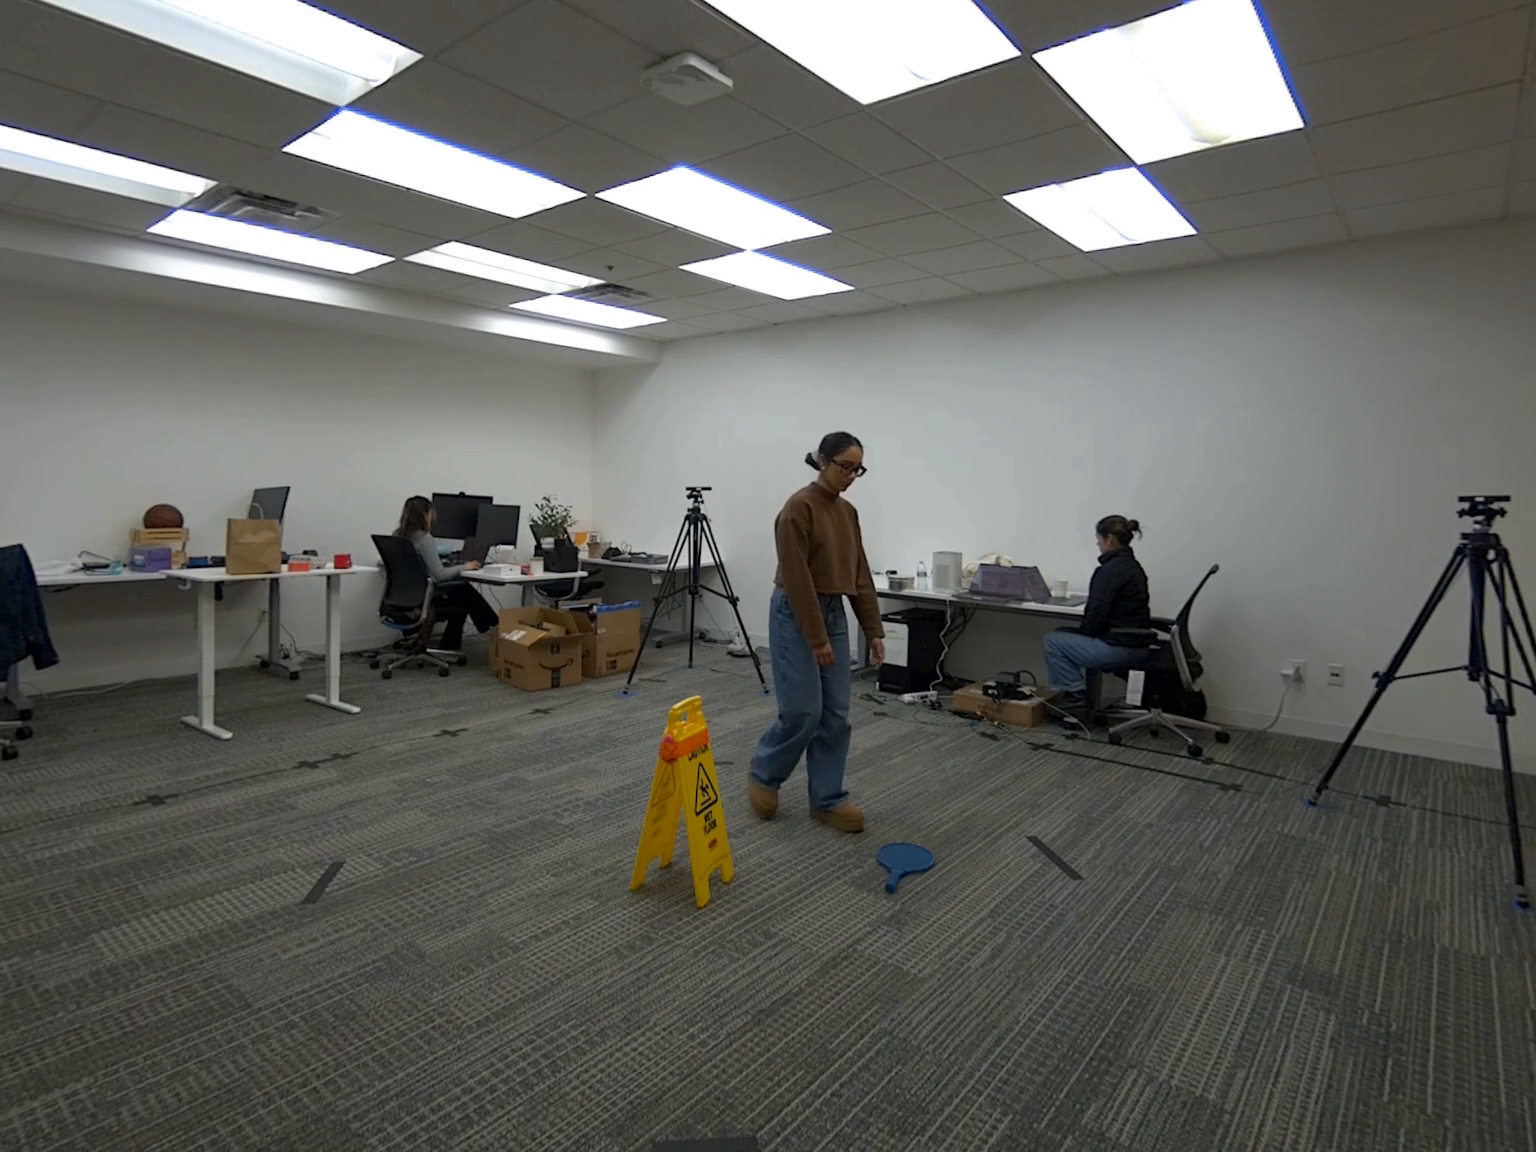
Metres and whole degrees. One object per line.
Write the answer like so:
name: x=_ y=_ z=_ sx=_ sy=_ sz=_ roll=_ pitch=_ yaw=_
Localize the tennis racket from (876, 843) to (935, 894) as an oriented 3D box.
tennis racket: x=0.474 y=1.061 z=3.146 sx=0.219 sy=0.031 sz=0.423 roll=3 pitch=5 yaw=23
